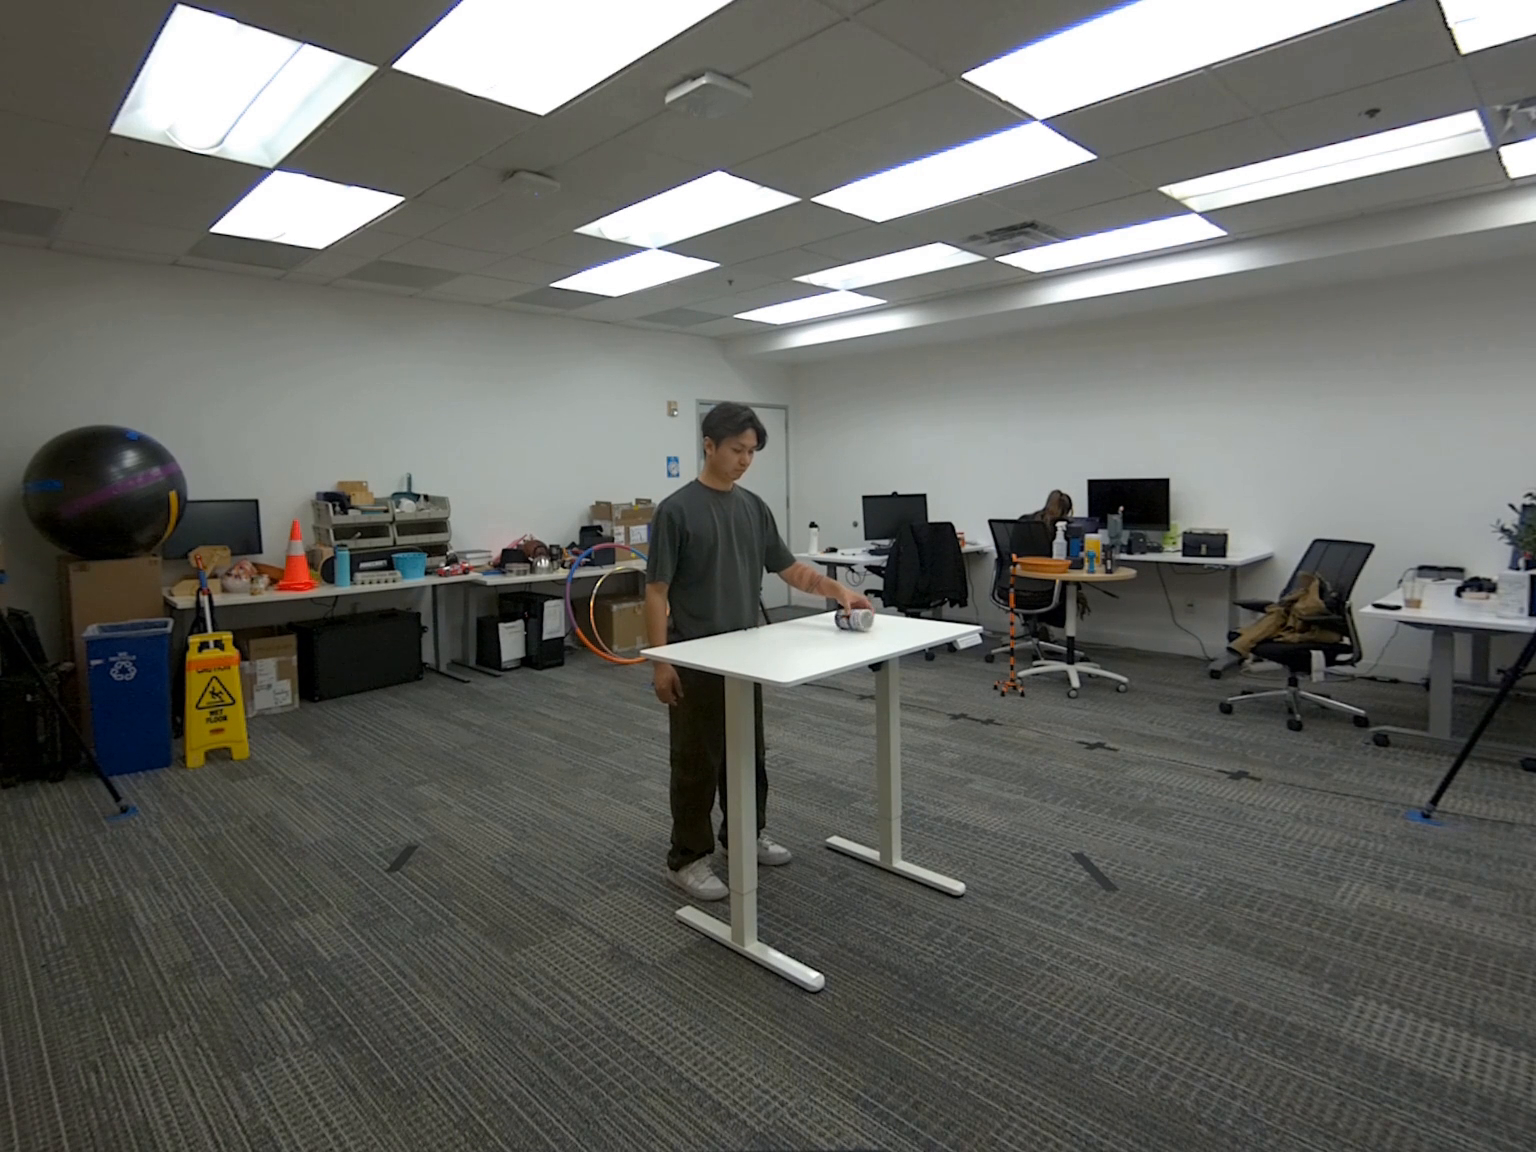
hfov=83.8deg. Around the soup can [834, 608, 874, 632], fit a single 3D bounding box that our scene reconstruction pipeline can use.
[{"bbox_3d":[0.280,0.143,2.862,0.125,0.067,0.065,1,5,33],"label":"soup can"}]
